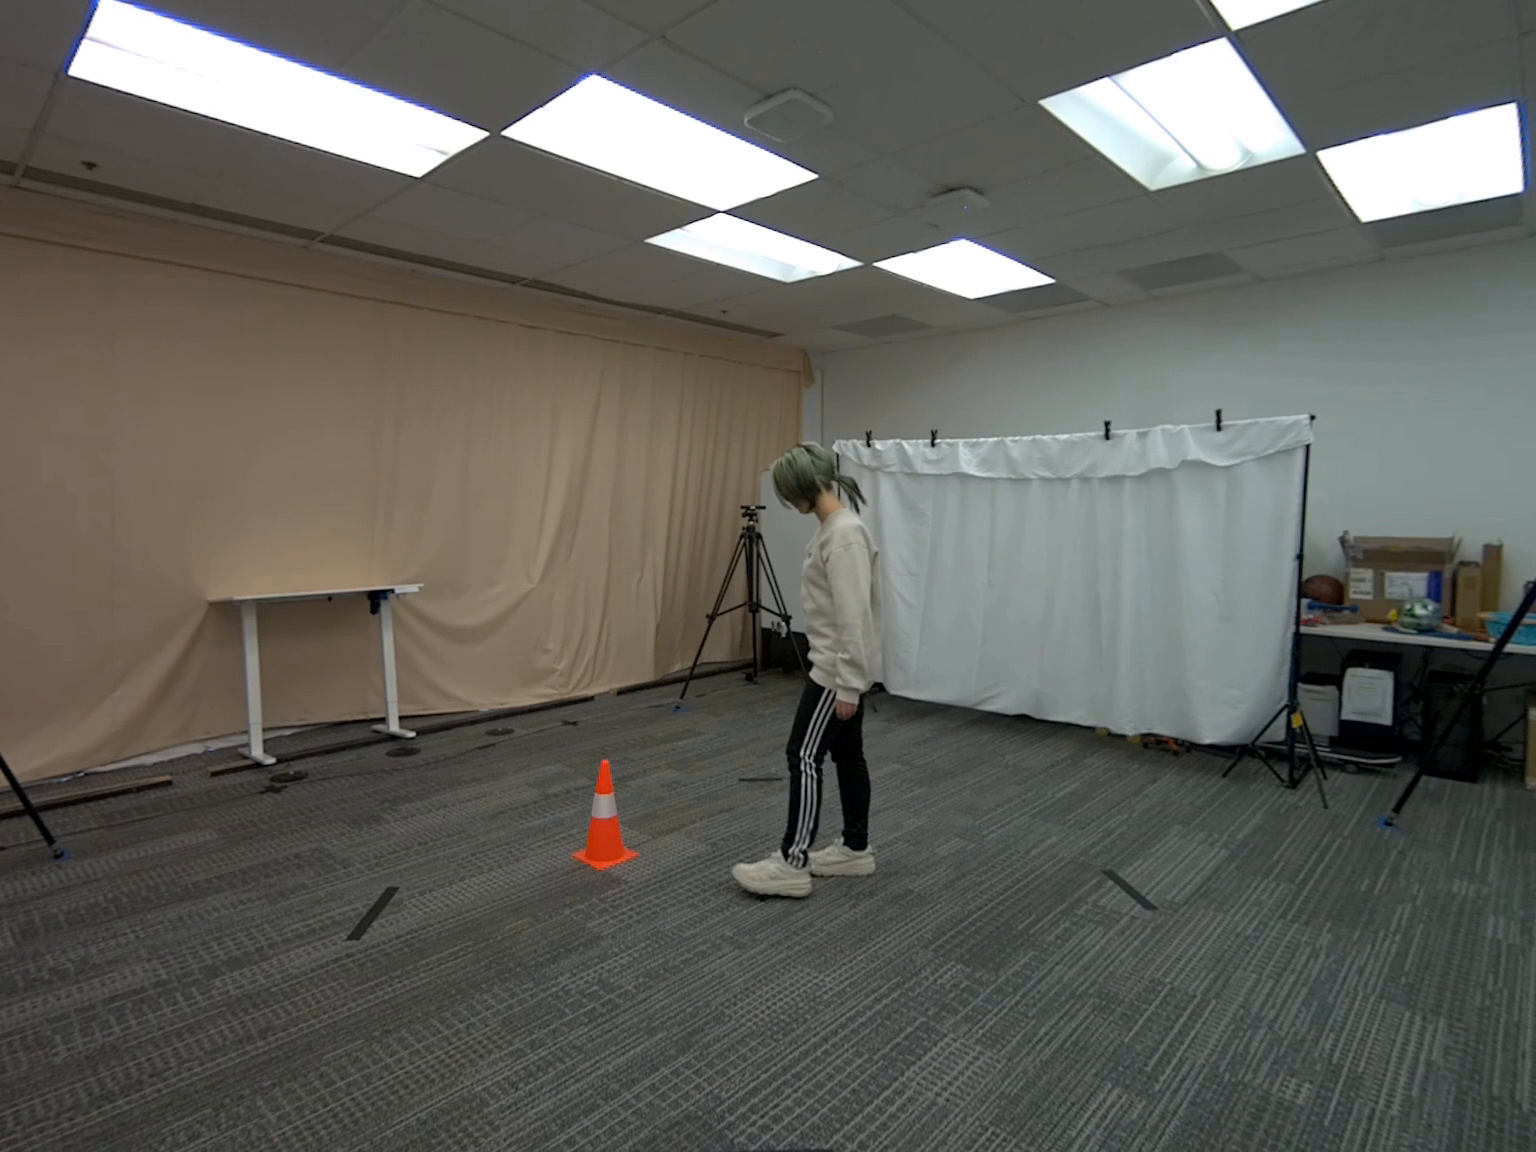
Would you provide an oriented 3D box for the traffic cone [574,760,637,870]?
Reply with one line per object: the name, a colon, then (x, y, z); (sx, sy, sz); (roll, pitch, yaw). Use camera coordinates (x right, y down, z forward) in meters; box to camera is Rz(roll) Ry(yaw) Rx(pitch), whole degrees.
traffic cone: (-0.647, 0.931, 3.371); (0.199, 0.383, 0.209); (0, 3, -32)
